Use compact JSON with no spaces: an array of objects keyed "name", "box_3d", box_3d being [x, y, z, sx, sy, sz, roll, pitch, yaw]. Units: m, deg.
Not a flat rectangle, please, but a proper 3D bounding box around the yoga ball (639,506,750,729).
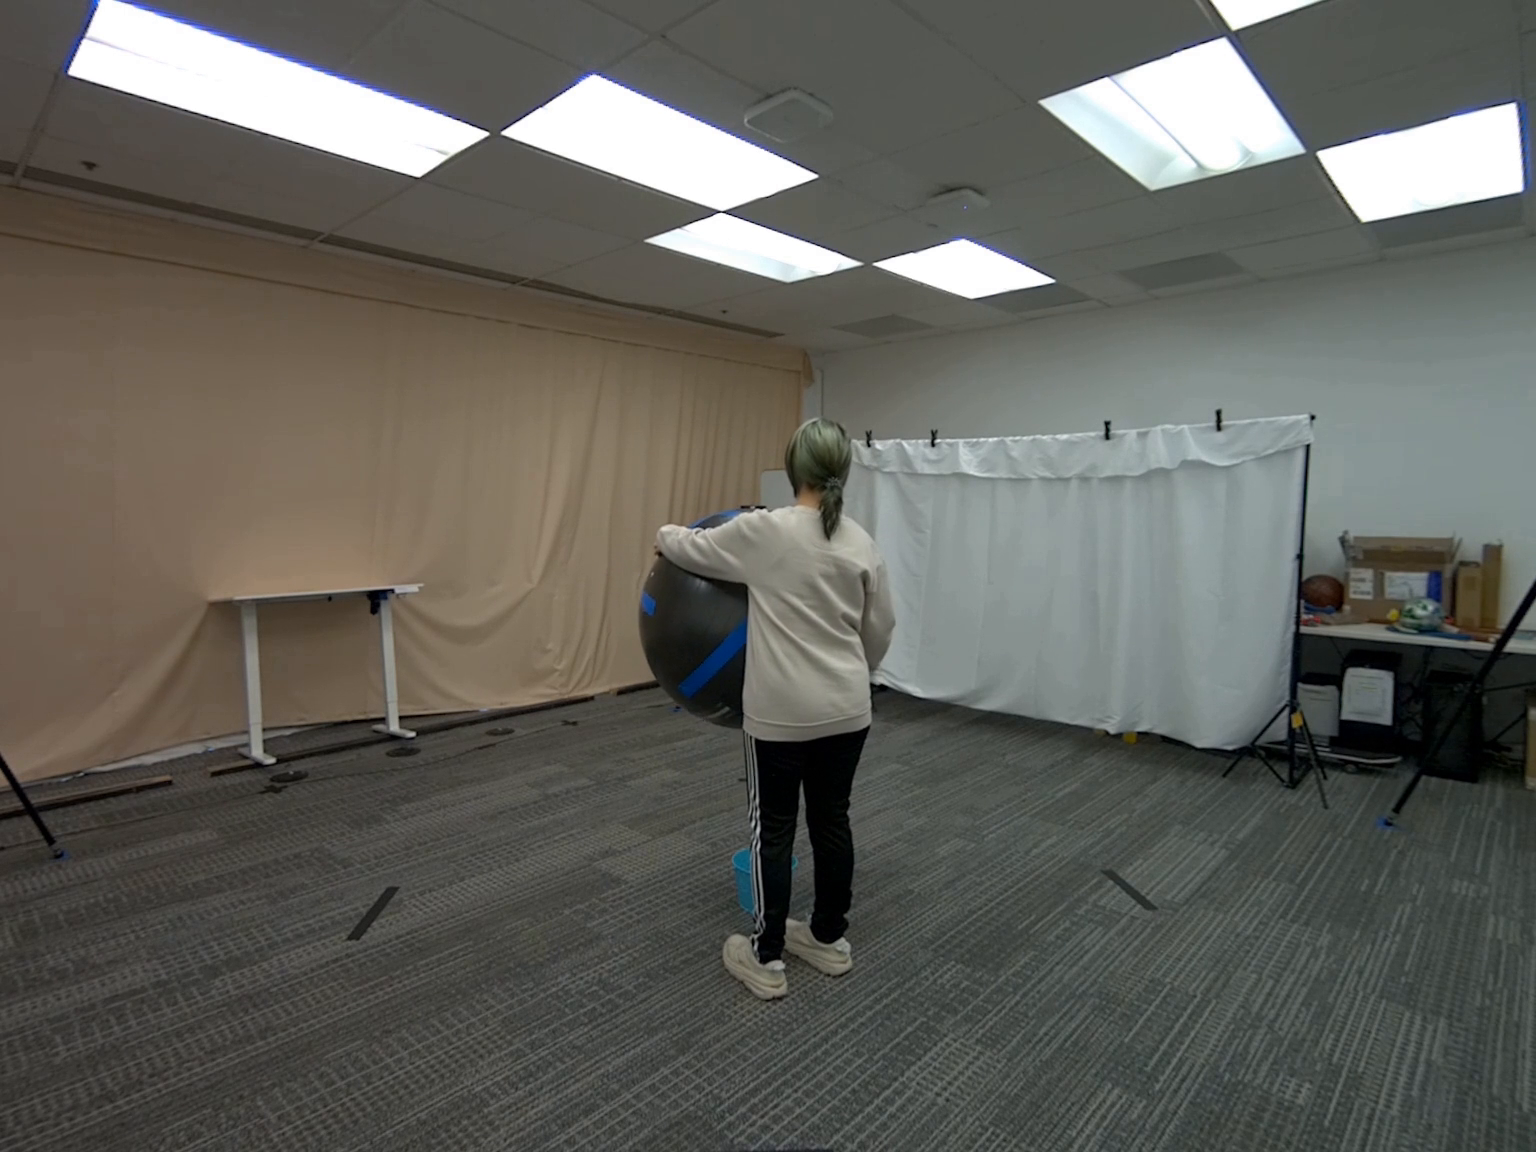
[{"name":"yoga ball","box_3d":[-0.066,0.153,2.934,0.757,0.756,0.760,0,4,-2]}]
